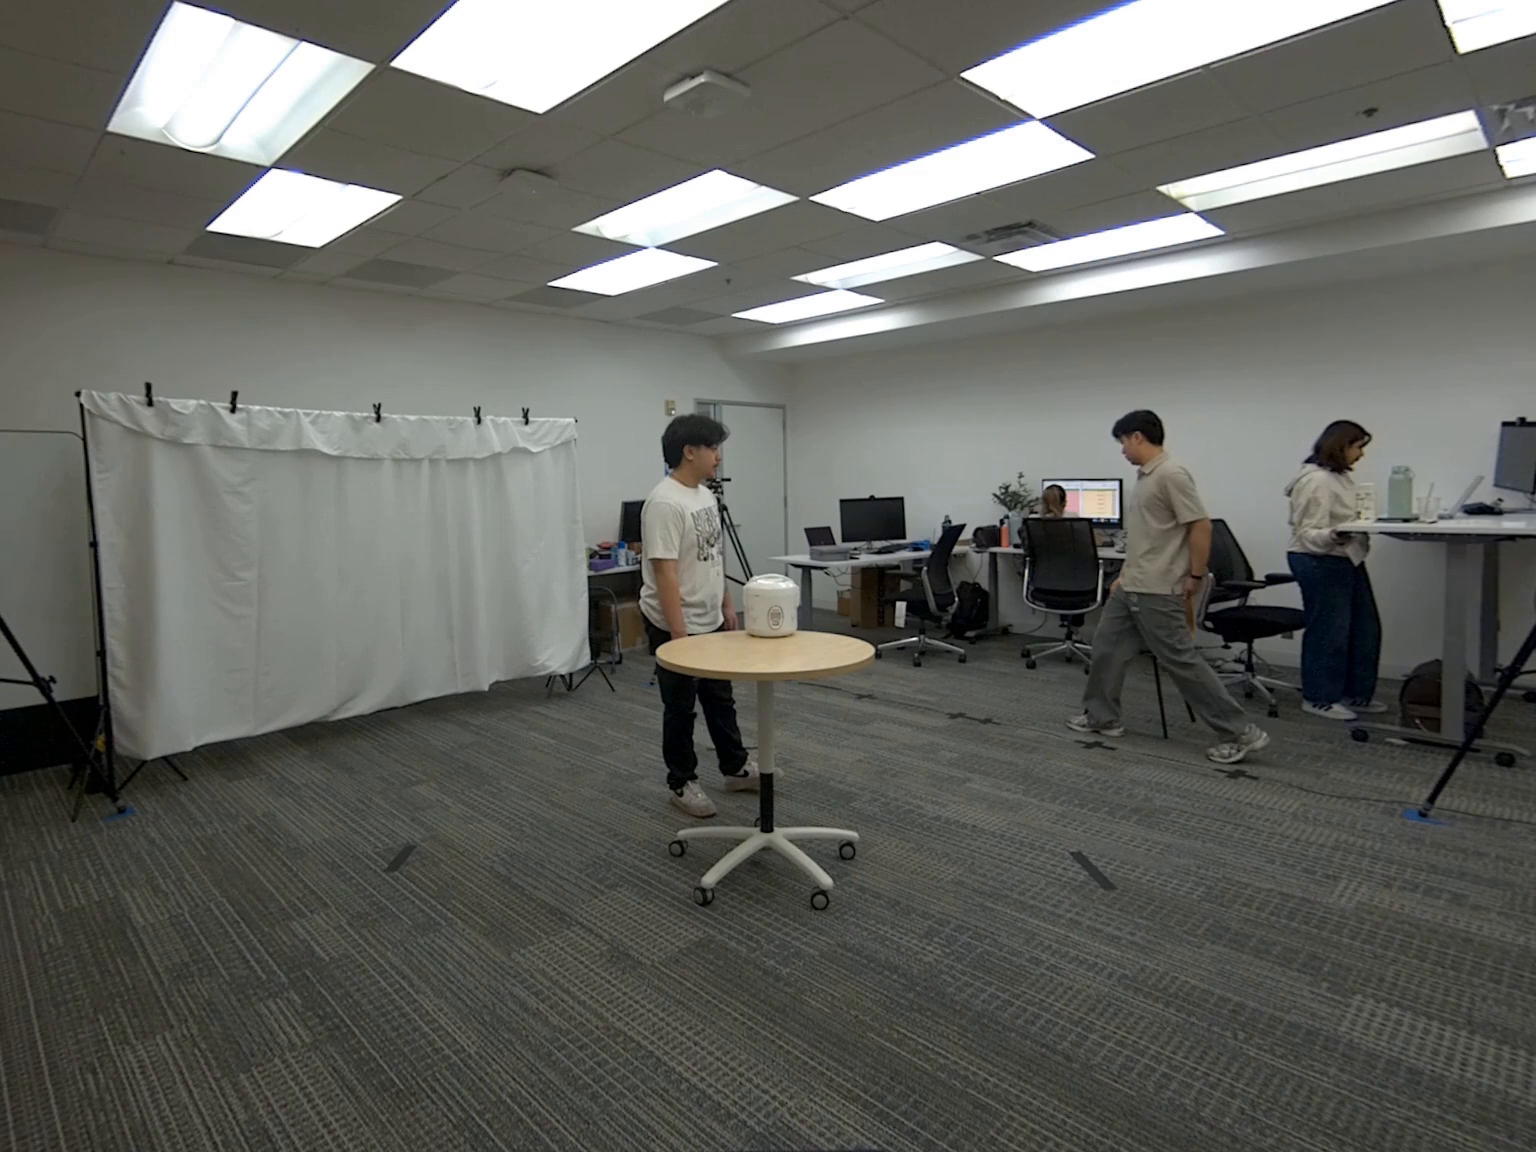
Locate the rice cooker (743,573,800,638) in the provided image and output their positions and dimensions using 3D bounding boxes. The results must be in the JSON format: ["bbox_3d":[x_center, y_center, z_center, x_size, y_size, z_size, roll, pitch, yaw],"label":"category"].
[{"bbox_3d":[0.013,0.108,3.290,0.219,0.232,0.219,-2,4,-7],"label":"rice cooker"}]
